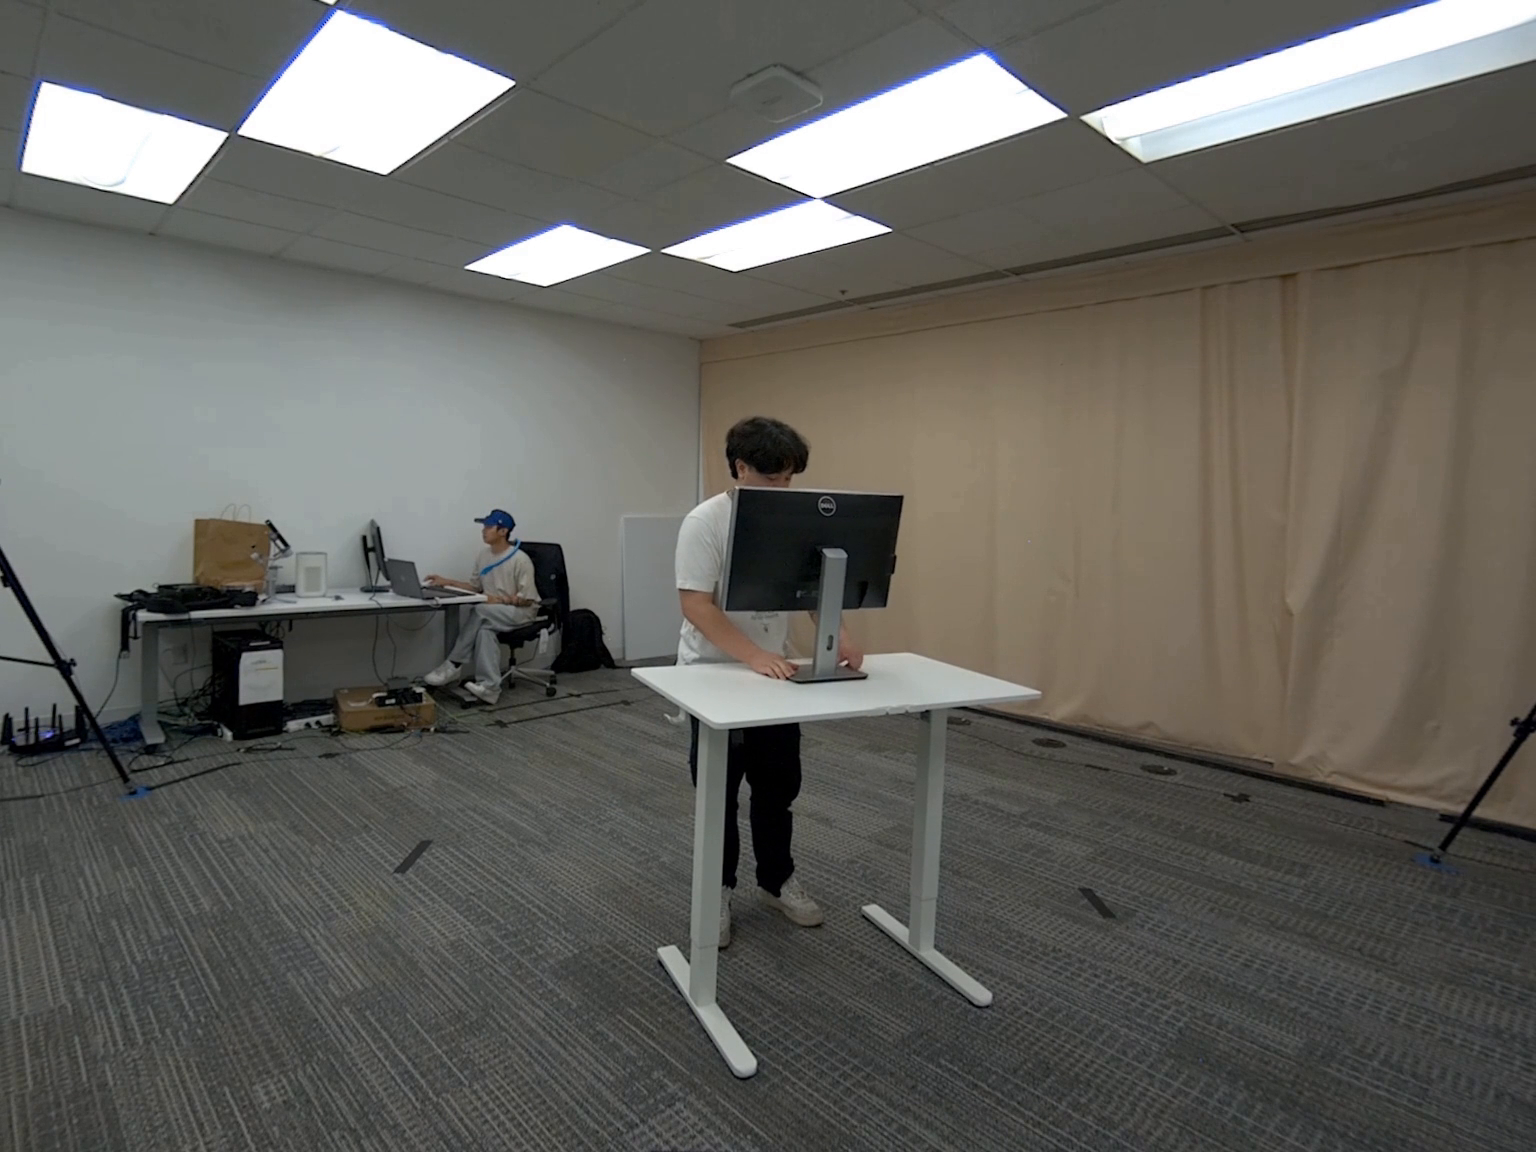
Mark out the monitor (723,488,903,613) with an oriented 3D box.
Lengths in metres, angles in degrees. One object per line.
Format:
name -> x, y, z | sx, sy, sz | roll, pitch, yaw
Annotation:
monitor -> 0.155, 0.027, 2.423 | 0.555, 0.551, 0.215 | 1, 8, -26
